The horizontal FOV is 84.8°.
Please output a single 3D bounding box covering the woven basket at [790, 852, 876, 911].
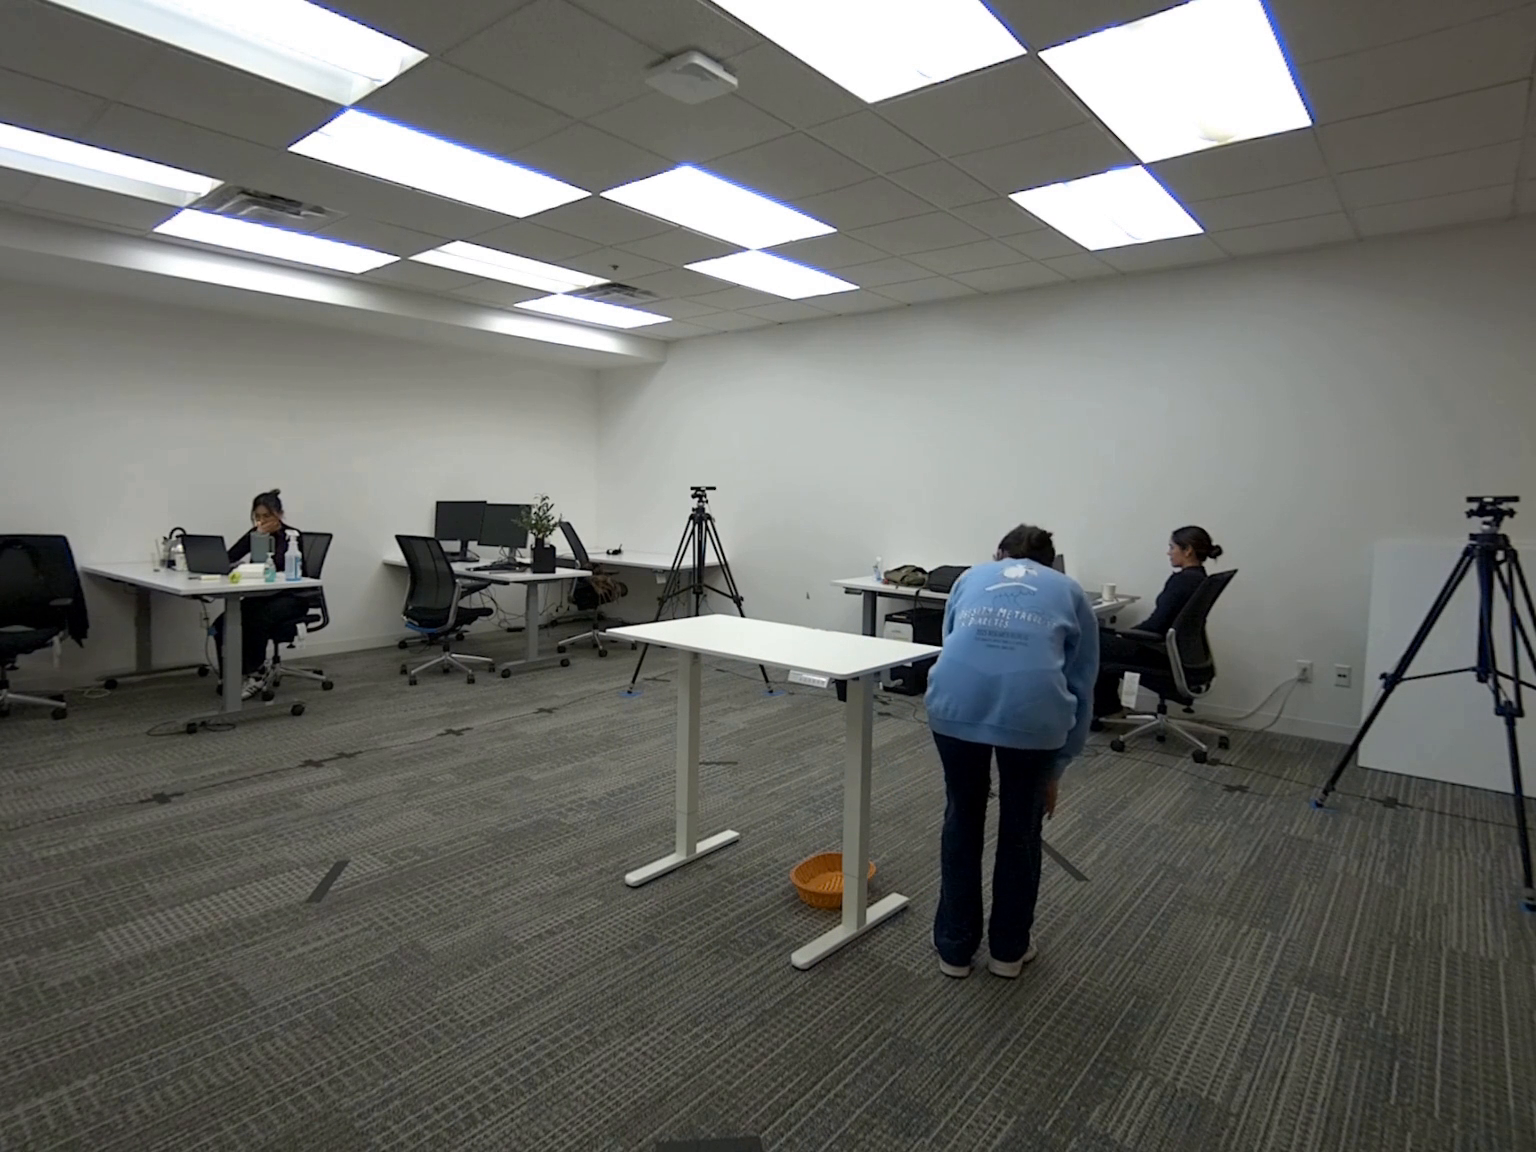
[{"bbox_3d":[0.218,1.047,2.946,0.260,0.073,0.341,3,6,35],"label":"woven basket"}]
